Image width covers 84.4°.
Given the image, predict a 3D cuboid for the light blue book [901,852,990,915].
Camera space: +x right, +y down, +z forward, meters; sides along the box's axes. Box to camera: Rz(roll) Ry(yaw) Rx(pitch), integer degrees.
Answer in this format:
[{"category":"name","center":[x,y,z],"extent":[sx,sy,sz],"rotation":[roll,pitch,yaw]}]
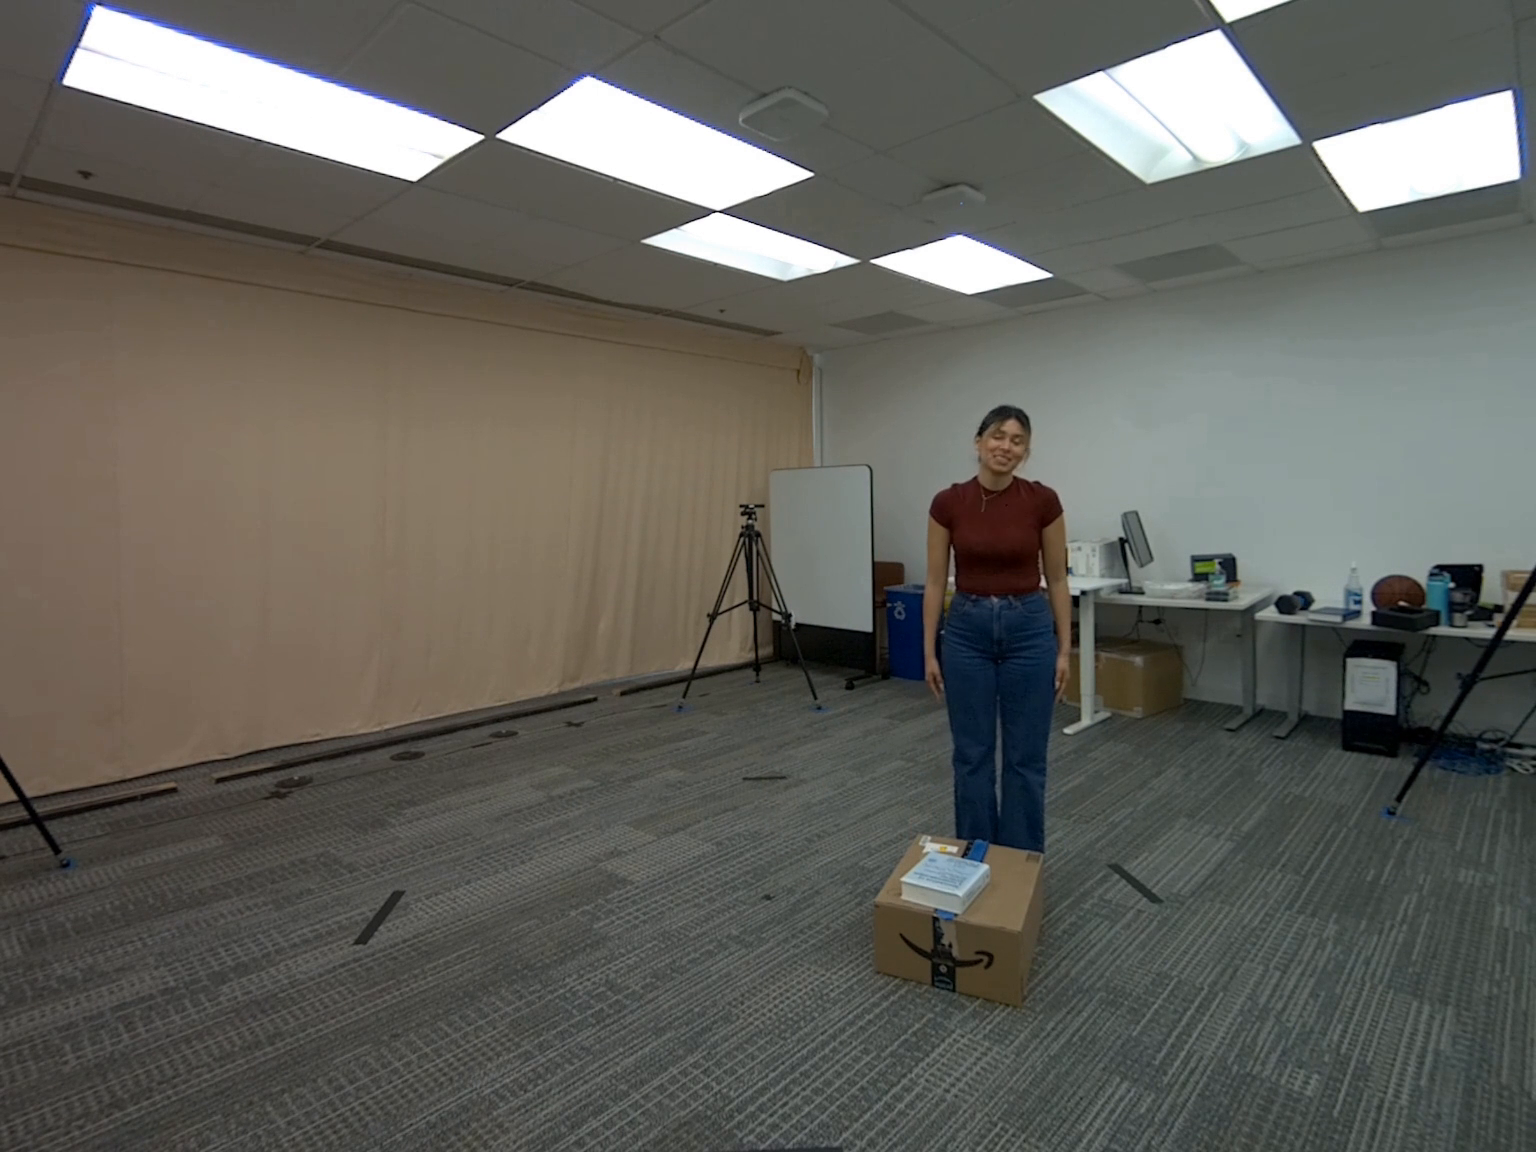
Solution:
[{"category":"light blue book","center":[0.545,0.921,2.559],"extent":[0.197,0.059,0.254],"rotation":[2,4,33]}]
